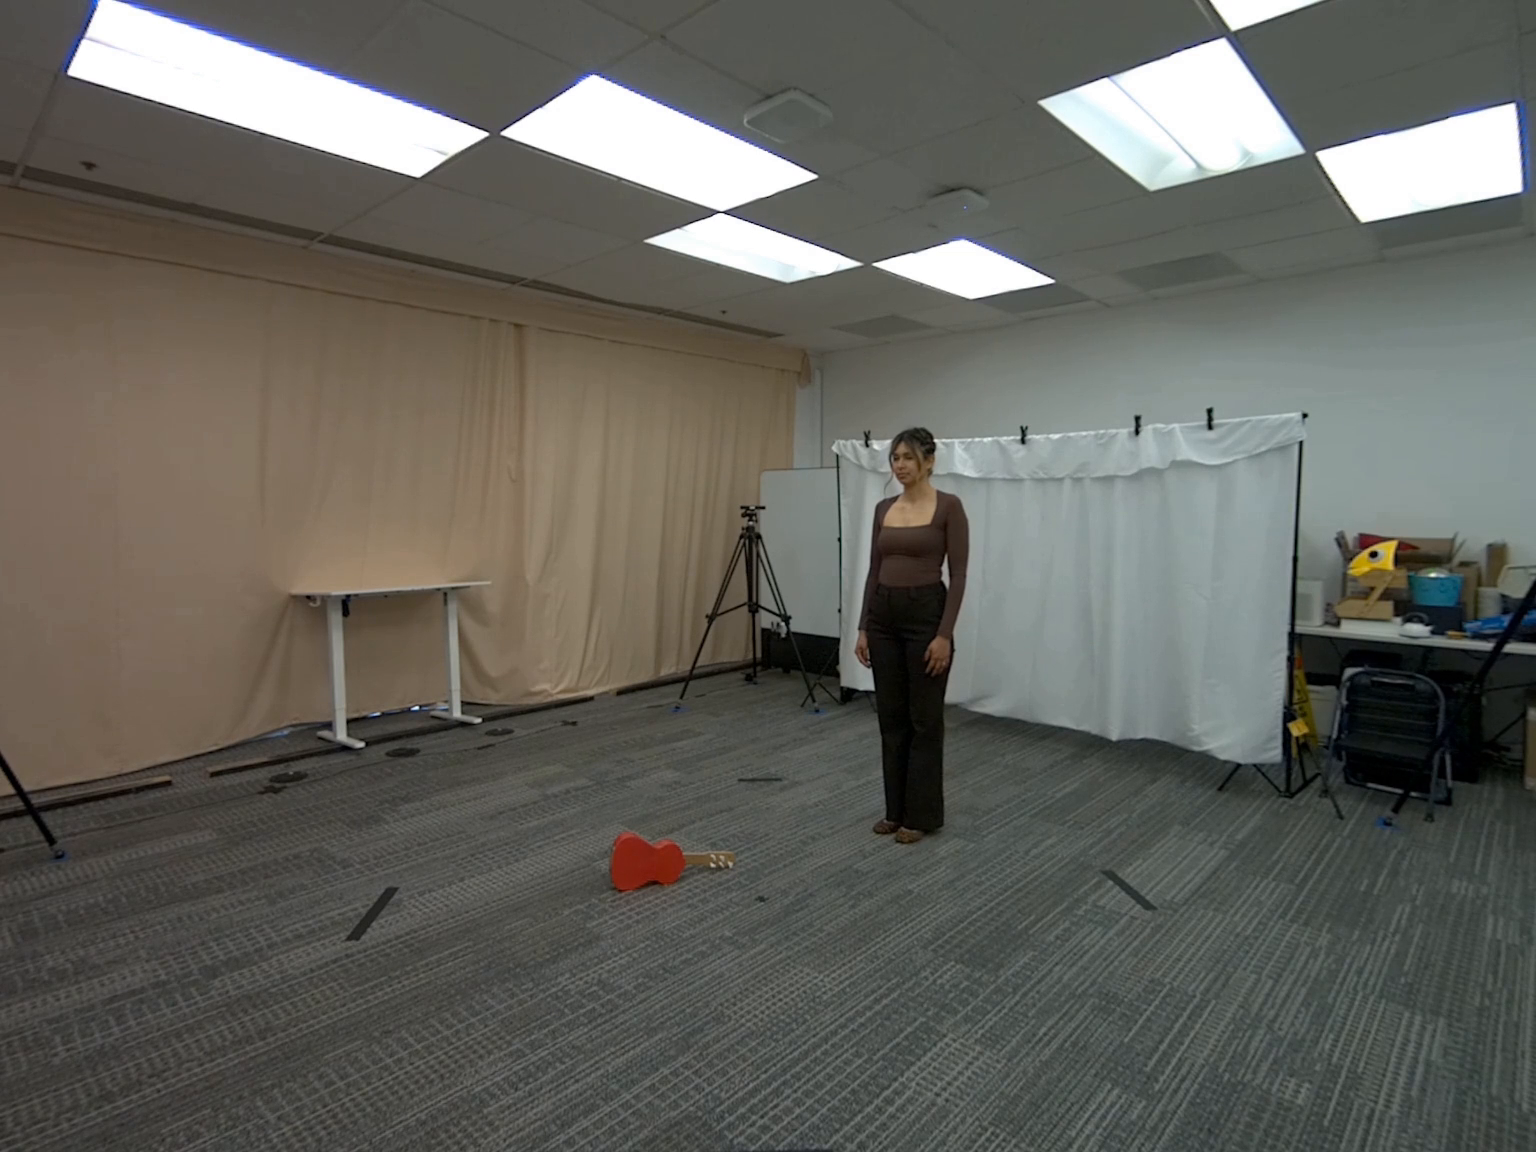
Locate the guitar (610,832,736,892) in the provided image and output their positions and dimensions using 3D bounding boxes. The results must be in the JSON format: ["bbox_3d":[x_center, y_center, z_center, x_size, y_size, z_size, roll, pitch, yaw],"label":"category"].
[{"bbox_3d":[-0.349,1.037,3.148,0.487,0.193,0.072,-1,0,-21],"label":"guitar"}]
